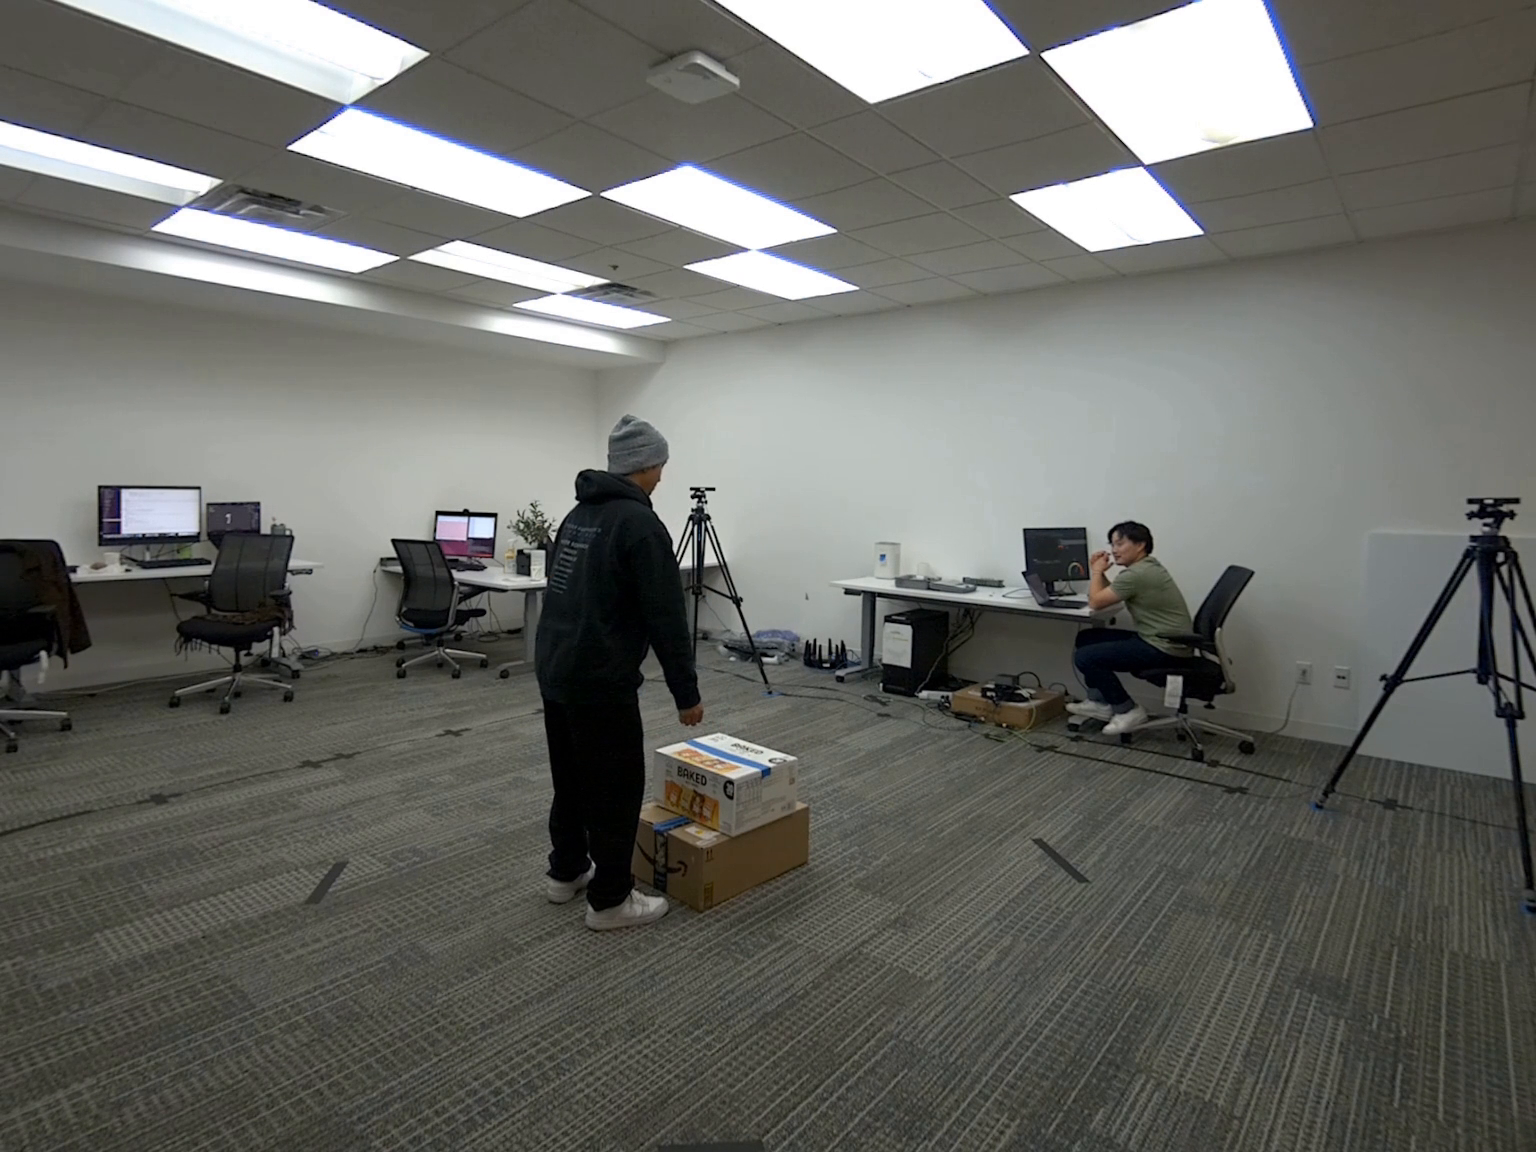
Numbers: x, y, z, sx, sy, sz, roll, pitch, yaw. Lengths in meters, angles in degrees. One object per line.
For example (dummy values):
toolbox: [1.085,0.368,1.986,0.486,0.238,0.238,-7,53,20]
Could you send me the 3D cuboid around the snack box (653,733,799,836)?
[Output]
snack box: [-0.167,0.748,3.106,0.419,0.205,0.330,7,8,42]
